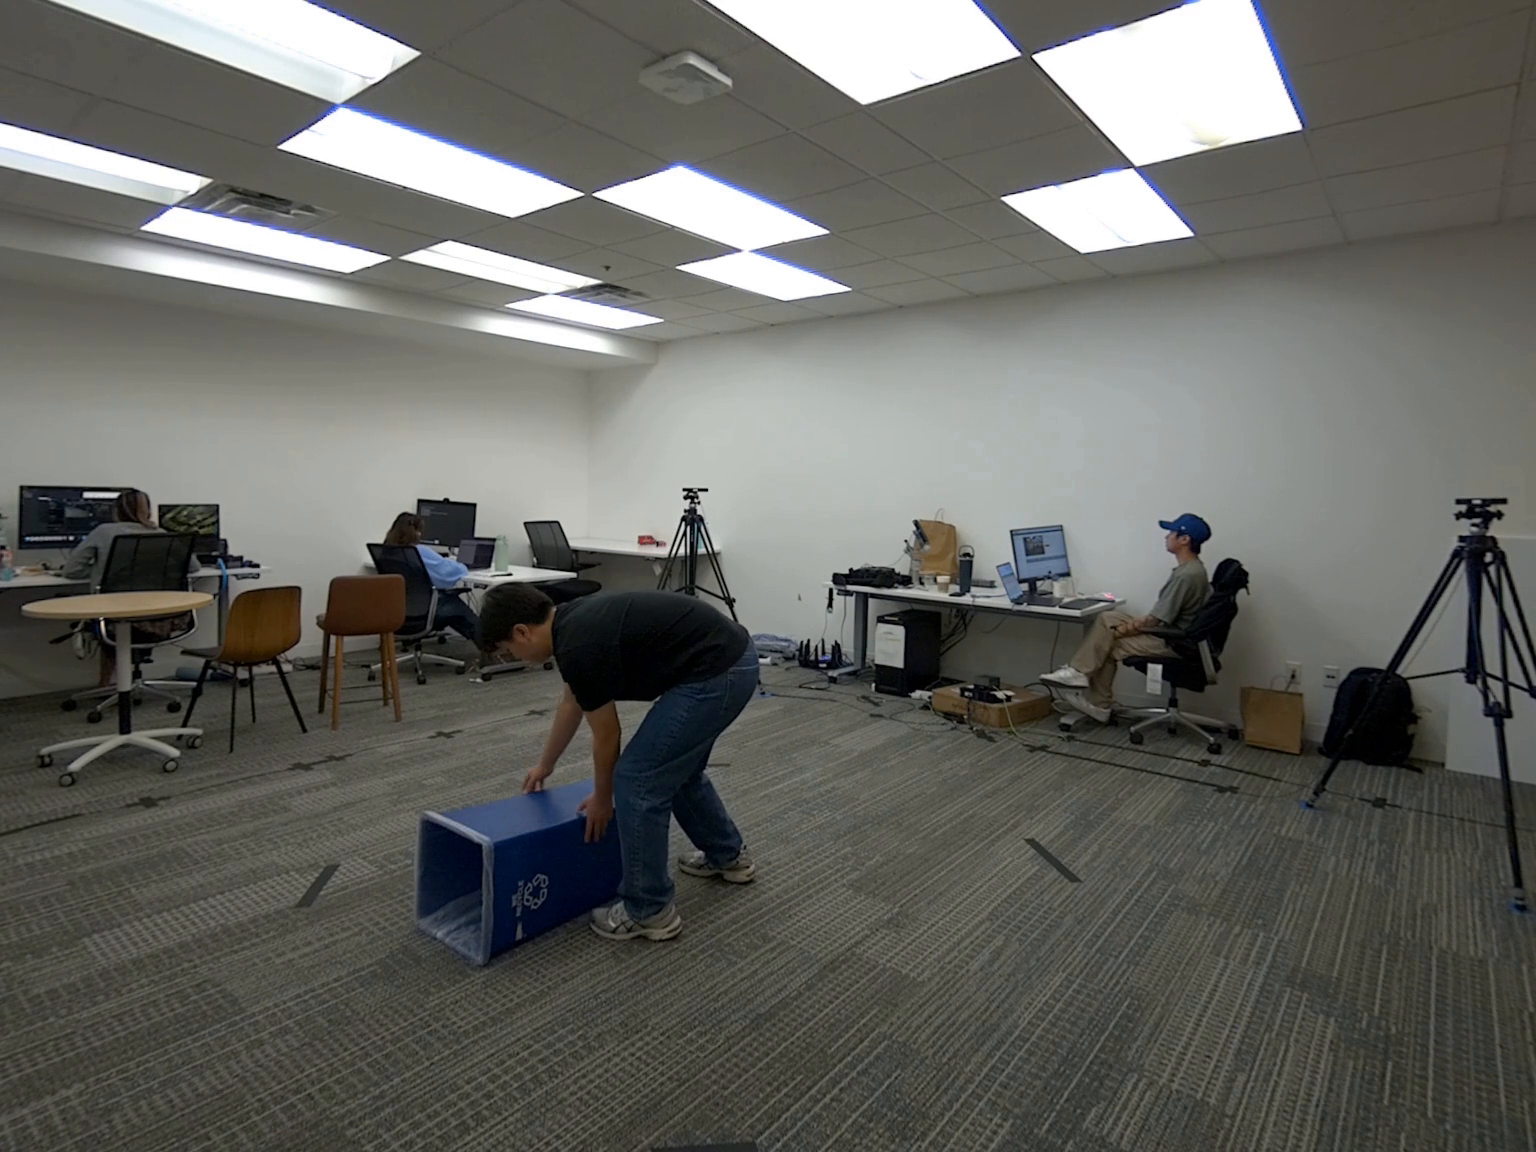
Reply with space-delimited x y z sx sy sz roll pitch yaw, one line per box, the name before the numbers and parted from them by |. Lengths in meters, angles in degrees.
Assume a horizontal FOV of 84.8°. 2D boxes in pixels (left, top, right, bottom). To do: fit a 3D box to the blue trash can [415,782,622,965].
blue trash can | -0.764 0.917 2.831 0.390 0.373 0.692 3 3 37
